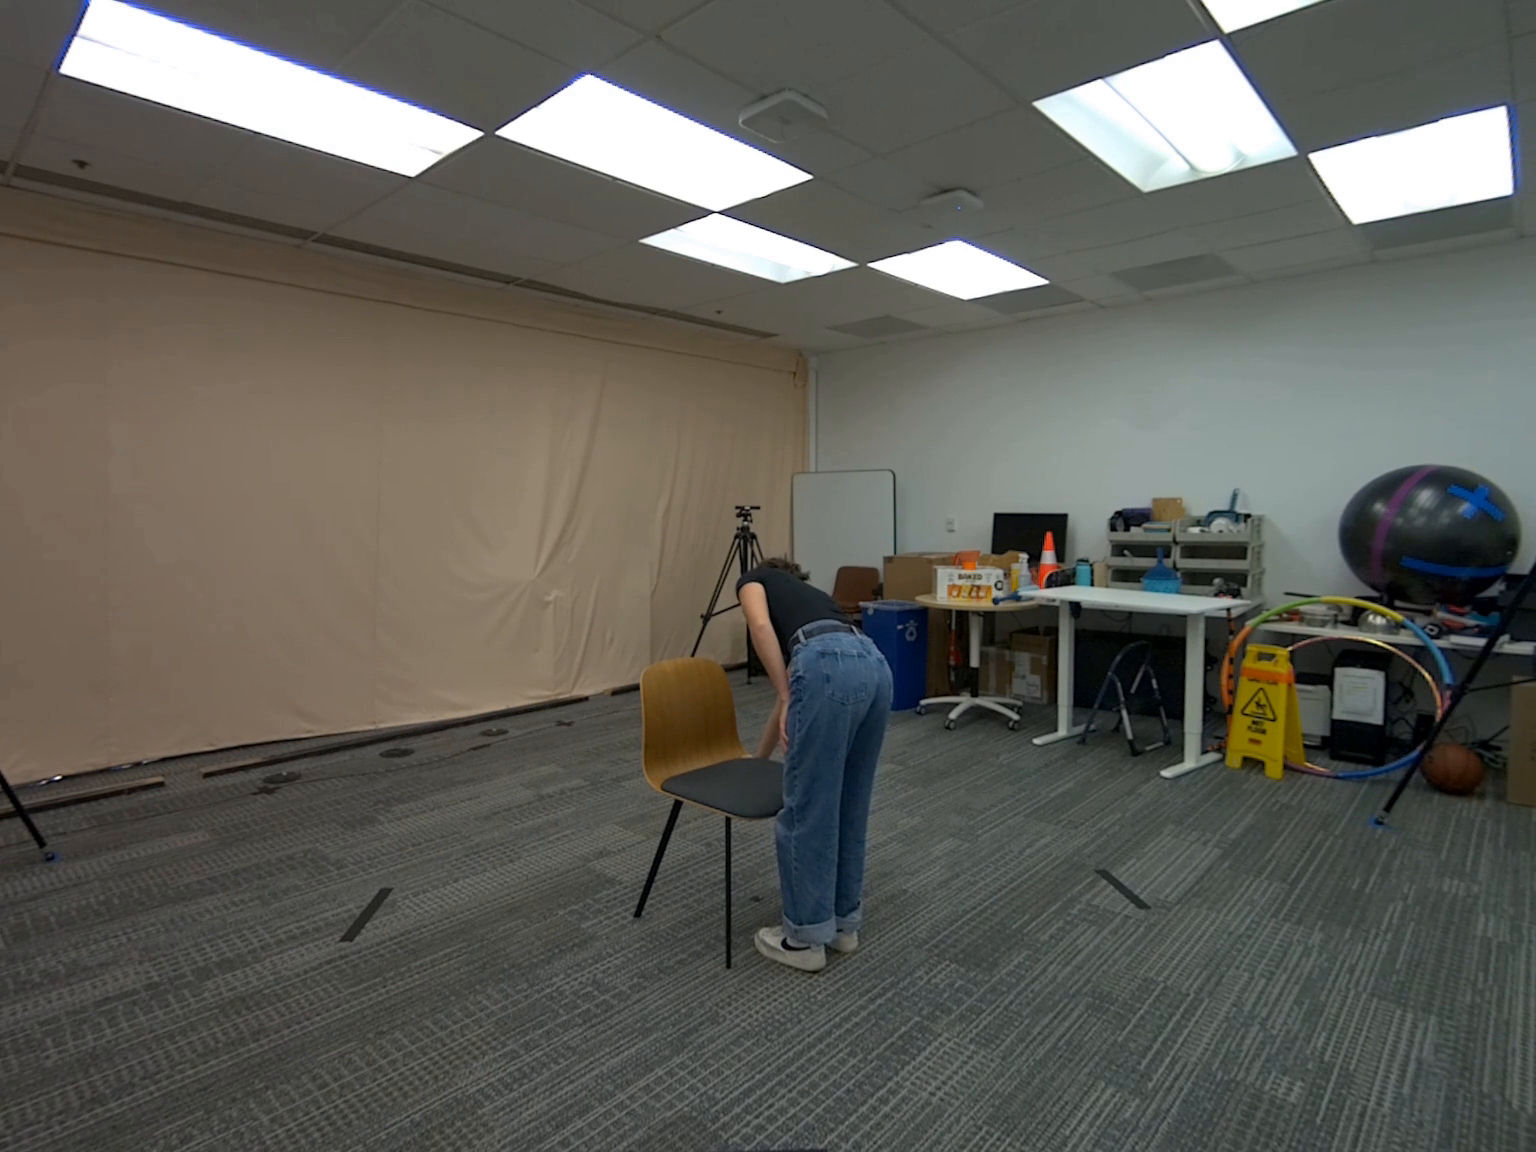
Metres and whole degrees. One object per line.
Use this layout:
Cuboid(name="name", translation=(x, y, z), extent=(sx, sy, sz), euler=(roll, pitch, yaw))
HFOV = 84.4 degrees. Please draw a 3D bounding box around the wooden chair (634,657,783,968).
Cuboid(name="wooden chair", translation=(-0.133, 0.733, 2.813), extent=(0.539, 0.877, 0.463), euler=(-3, 1, 44))
